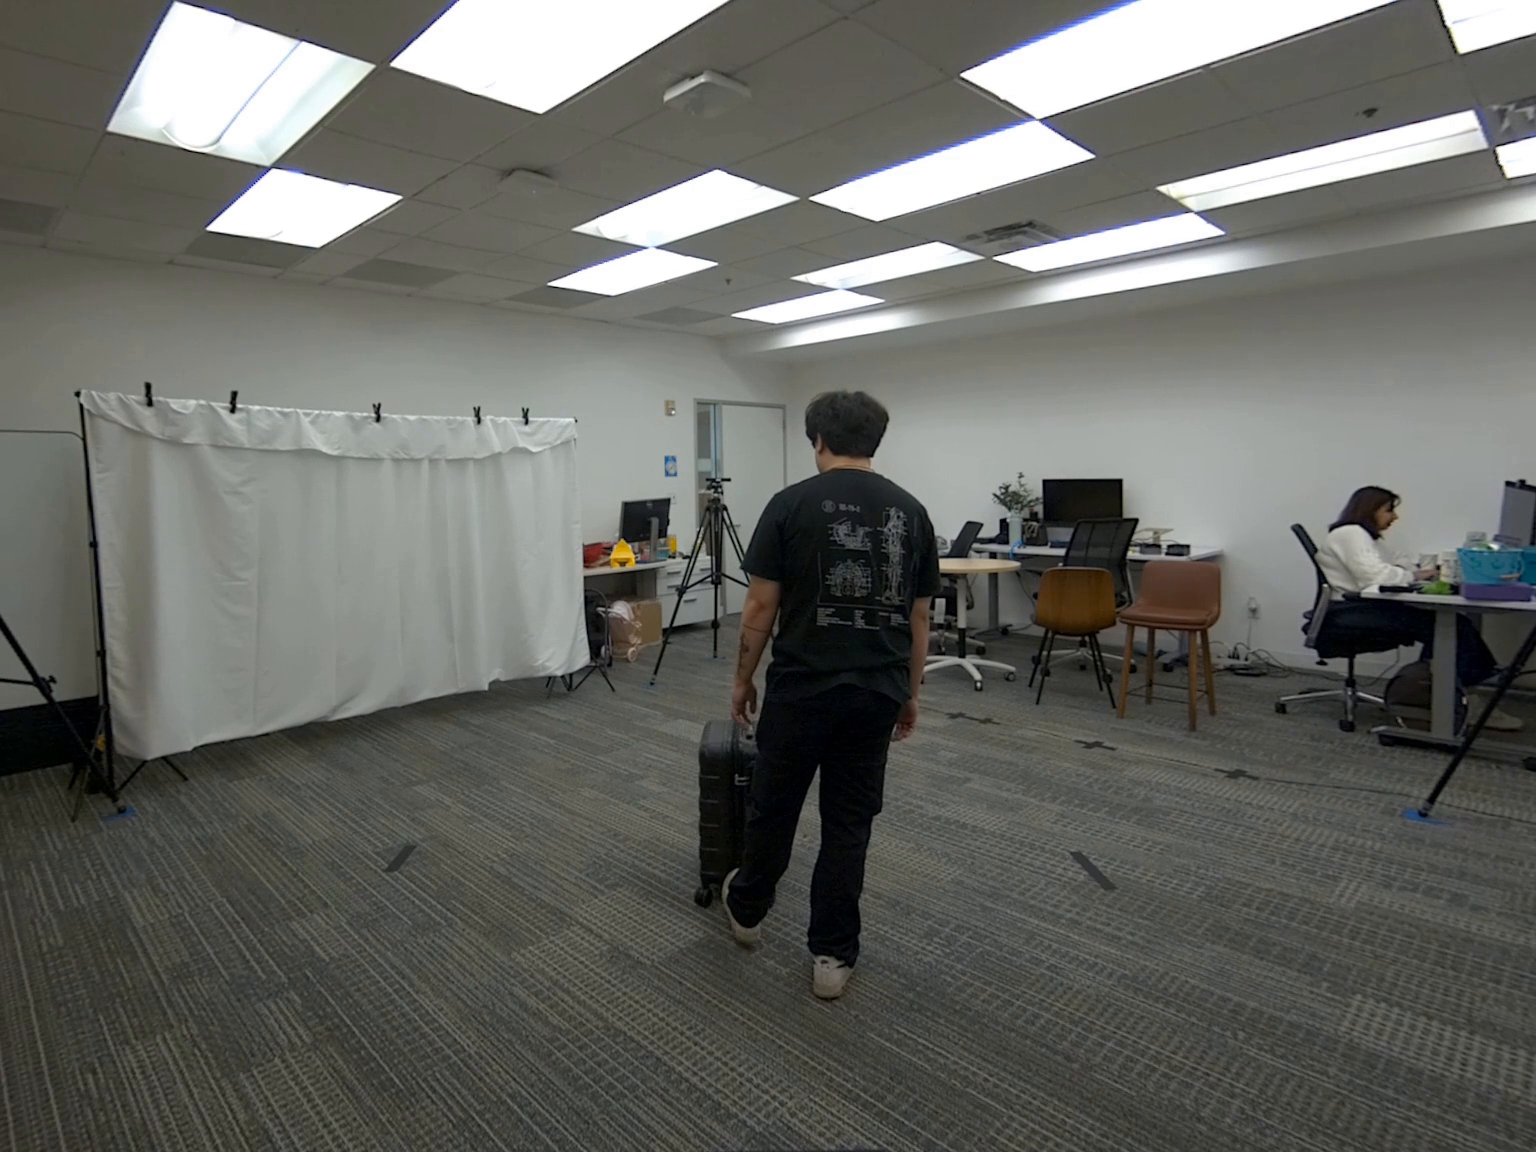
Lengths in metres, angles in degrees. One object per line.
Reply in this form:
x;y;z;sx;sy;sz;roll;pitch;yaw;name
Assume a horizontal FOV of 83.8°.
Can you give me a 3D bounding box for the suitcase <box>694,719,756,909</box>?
-0.102;0.783;2.949;0.248;0.547;0.377;-2;4;-2;suitcase
